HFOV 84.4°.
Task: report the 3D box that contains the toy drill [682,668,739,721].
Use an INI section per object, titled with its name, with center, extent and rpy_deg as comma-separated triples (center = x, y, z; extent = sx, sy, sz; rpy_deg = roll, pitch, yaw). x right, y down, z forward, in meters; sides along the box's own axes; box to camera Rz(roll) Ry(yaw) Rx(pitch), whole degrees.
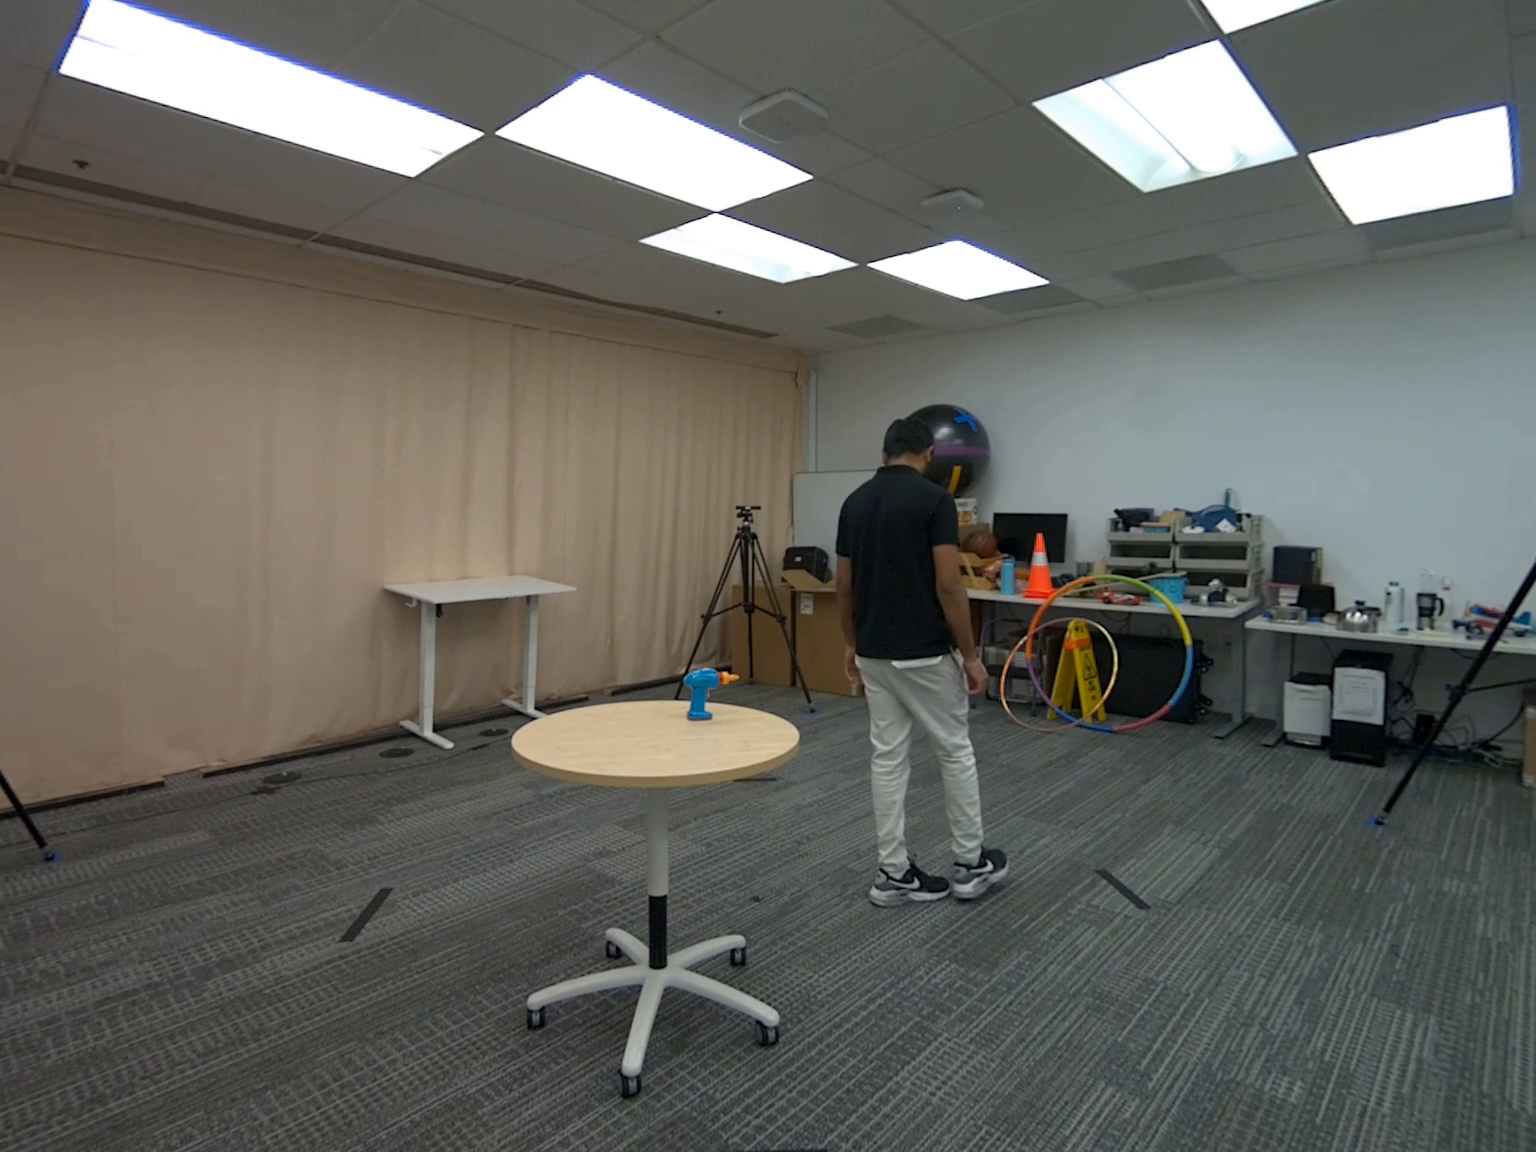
[toy drill]
center = -0.157, 0.339, 2.424
extent = 0.166, 0.146, 0.062
rpy_deg = -1, 3, -20
